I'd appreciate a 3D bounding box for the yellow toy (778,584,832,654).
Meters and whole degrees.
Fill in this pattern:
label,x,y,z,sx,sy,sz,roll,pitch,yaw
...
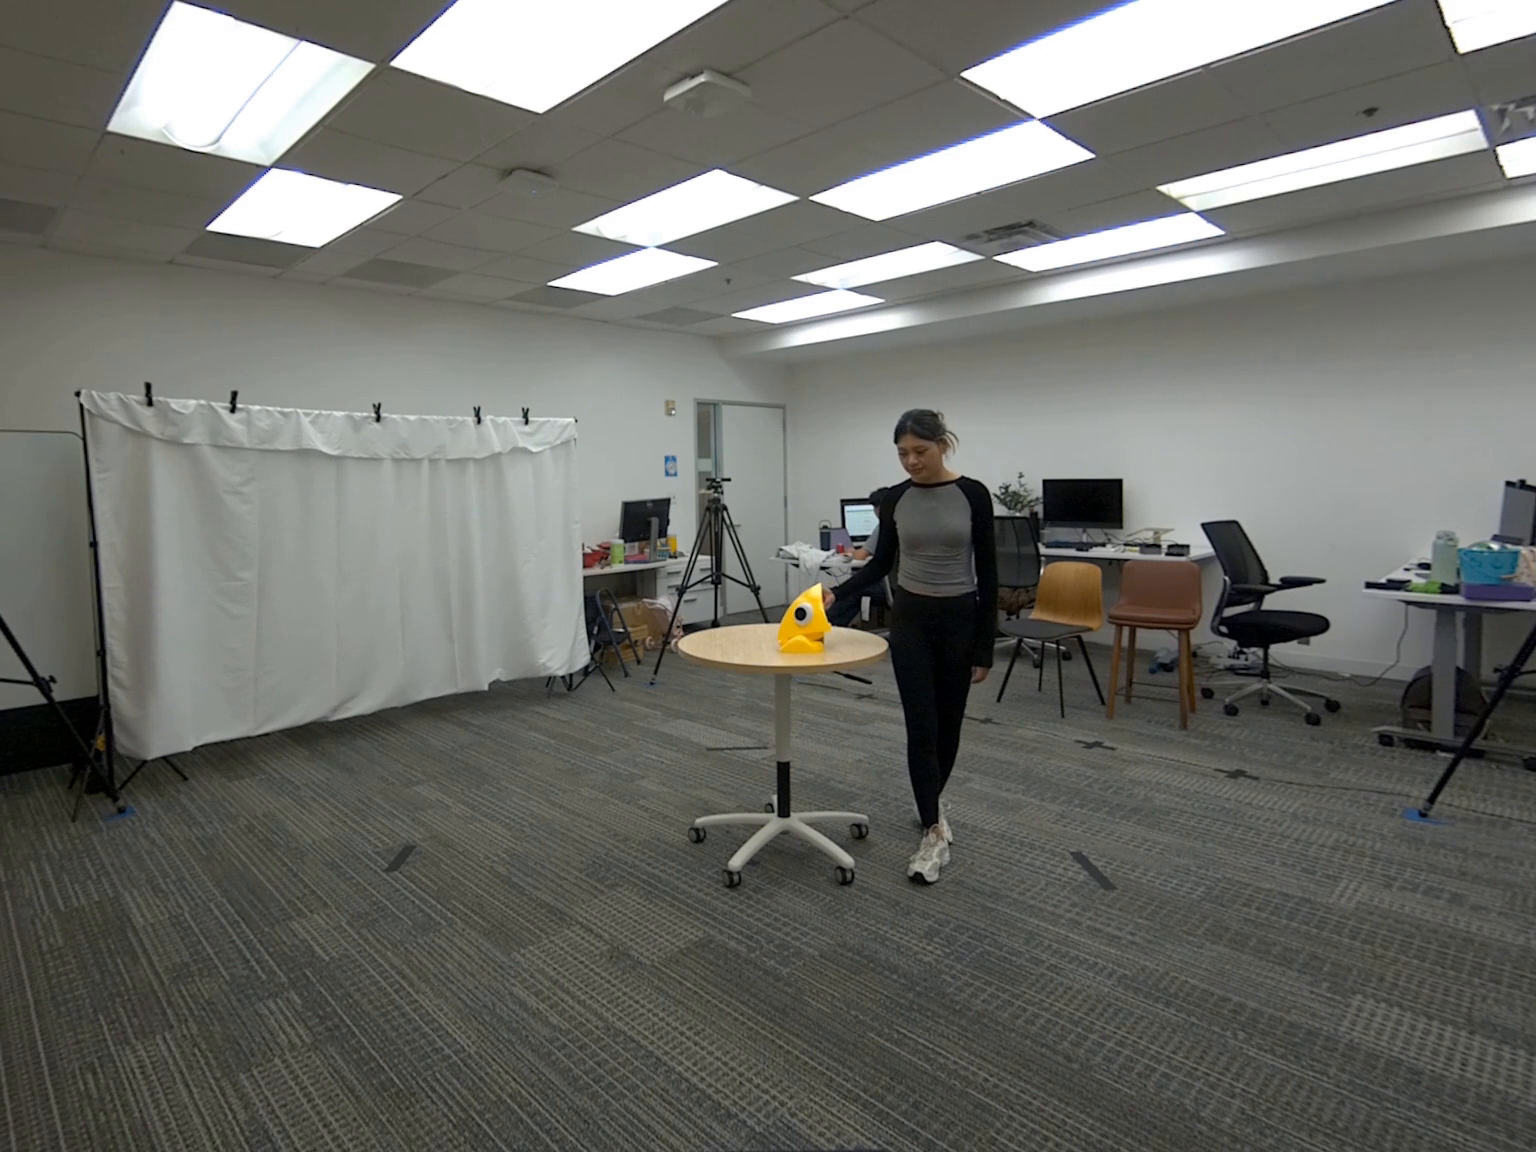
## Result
label,x,y,z,sx,sy,sz,roll,pitch,yaw
yellow toy,0.126,0.142,3.031,0.193,0.230,0.205,-1,5,1
